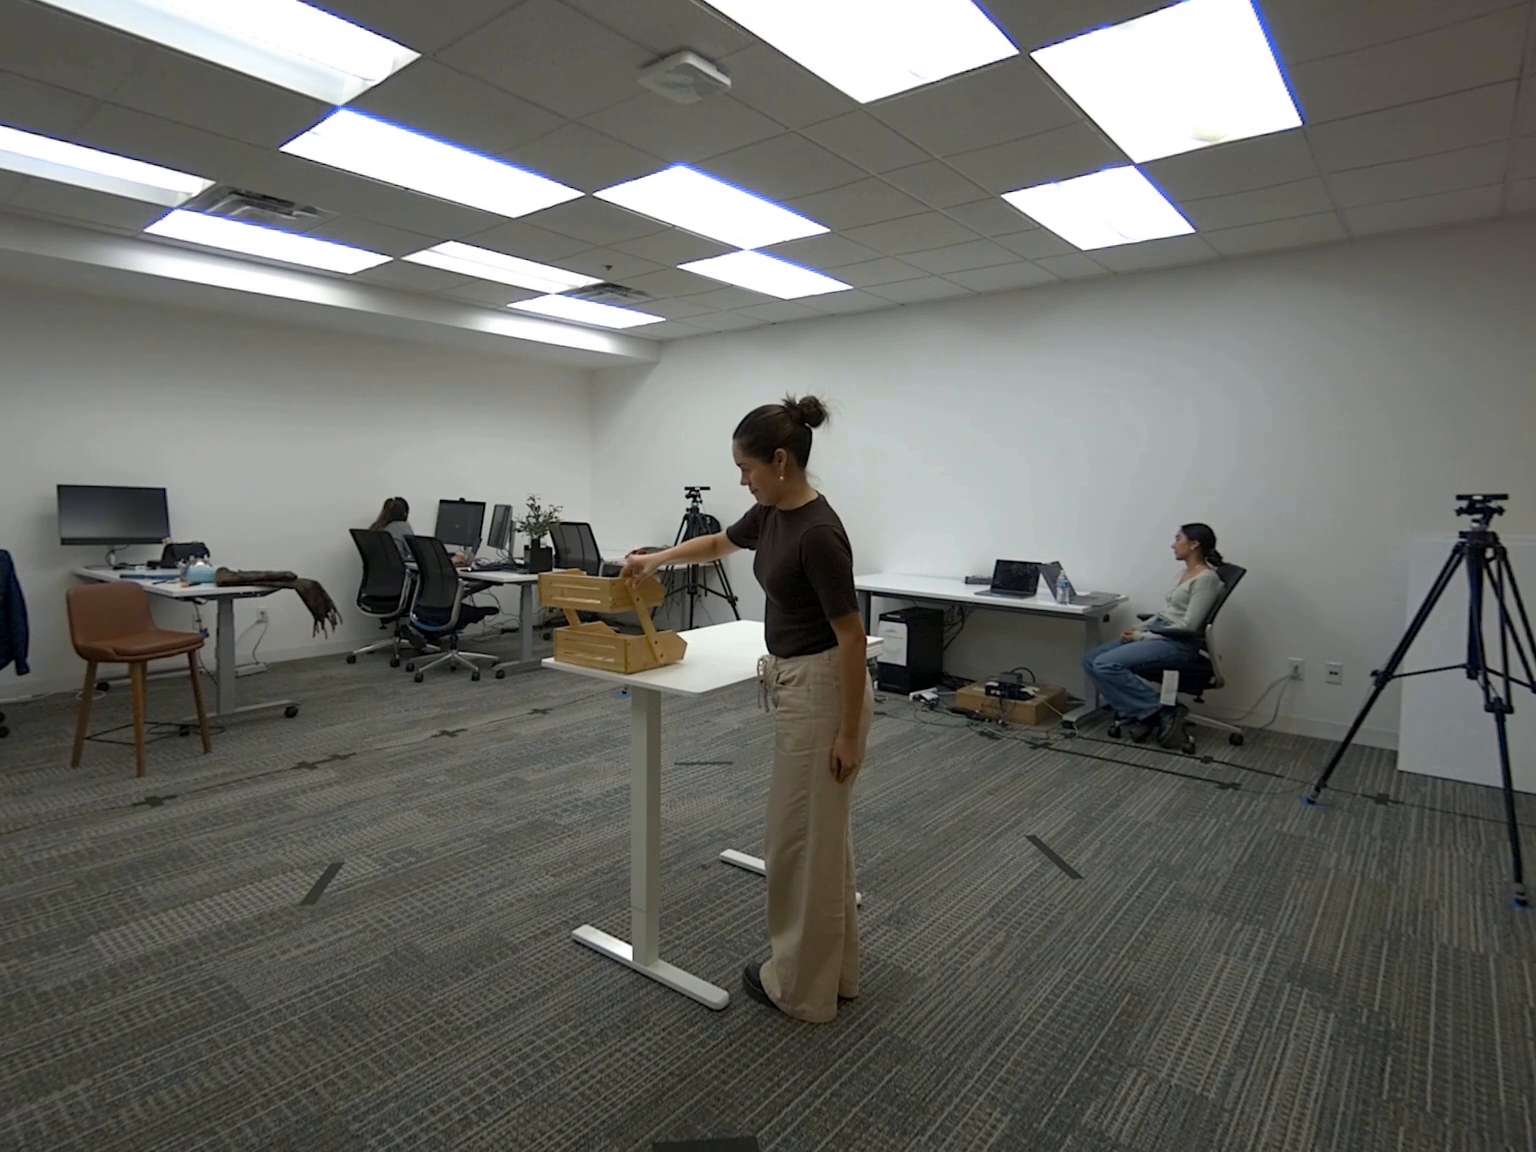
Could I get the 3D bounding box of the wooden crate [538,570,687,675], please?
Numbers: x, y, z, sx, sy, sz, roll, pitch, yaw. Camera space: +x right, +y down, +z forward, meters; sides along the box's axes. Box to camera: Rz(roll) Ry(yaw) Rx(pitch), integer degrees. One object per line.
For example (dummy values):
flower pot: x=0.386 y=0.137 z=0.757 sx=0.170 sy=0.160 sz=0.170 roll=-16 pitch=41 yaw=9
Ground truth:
wooden crate: x=-0.454 y=0.111 z=2.456 sx=0.335 sy=0.272 sz=0.294 roll=3 pitch=6 yaw=37
